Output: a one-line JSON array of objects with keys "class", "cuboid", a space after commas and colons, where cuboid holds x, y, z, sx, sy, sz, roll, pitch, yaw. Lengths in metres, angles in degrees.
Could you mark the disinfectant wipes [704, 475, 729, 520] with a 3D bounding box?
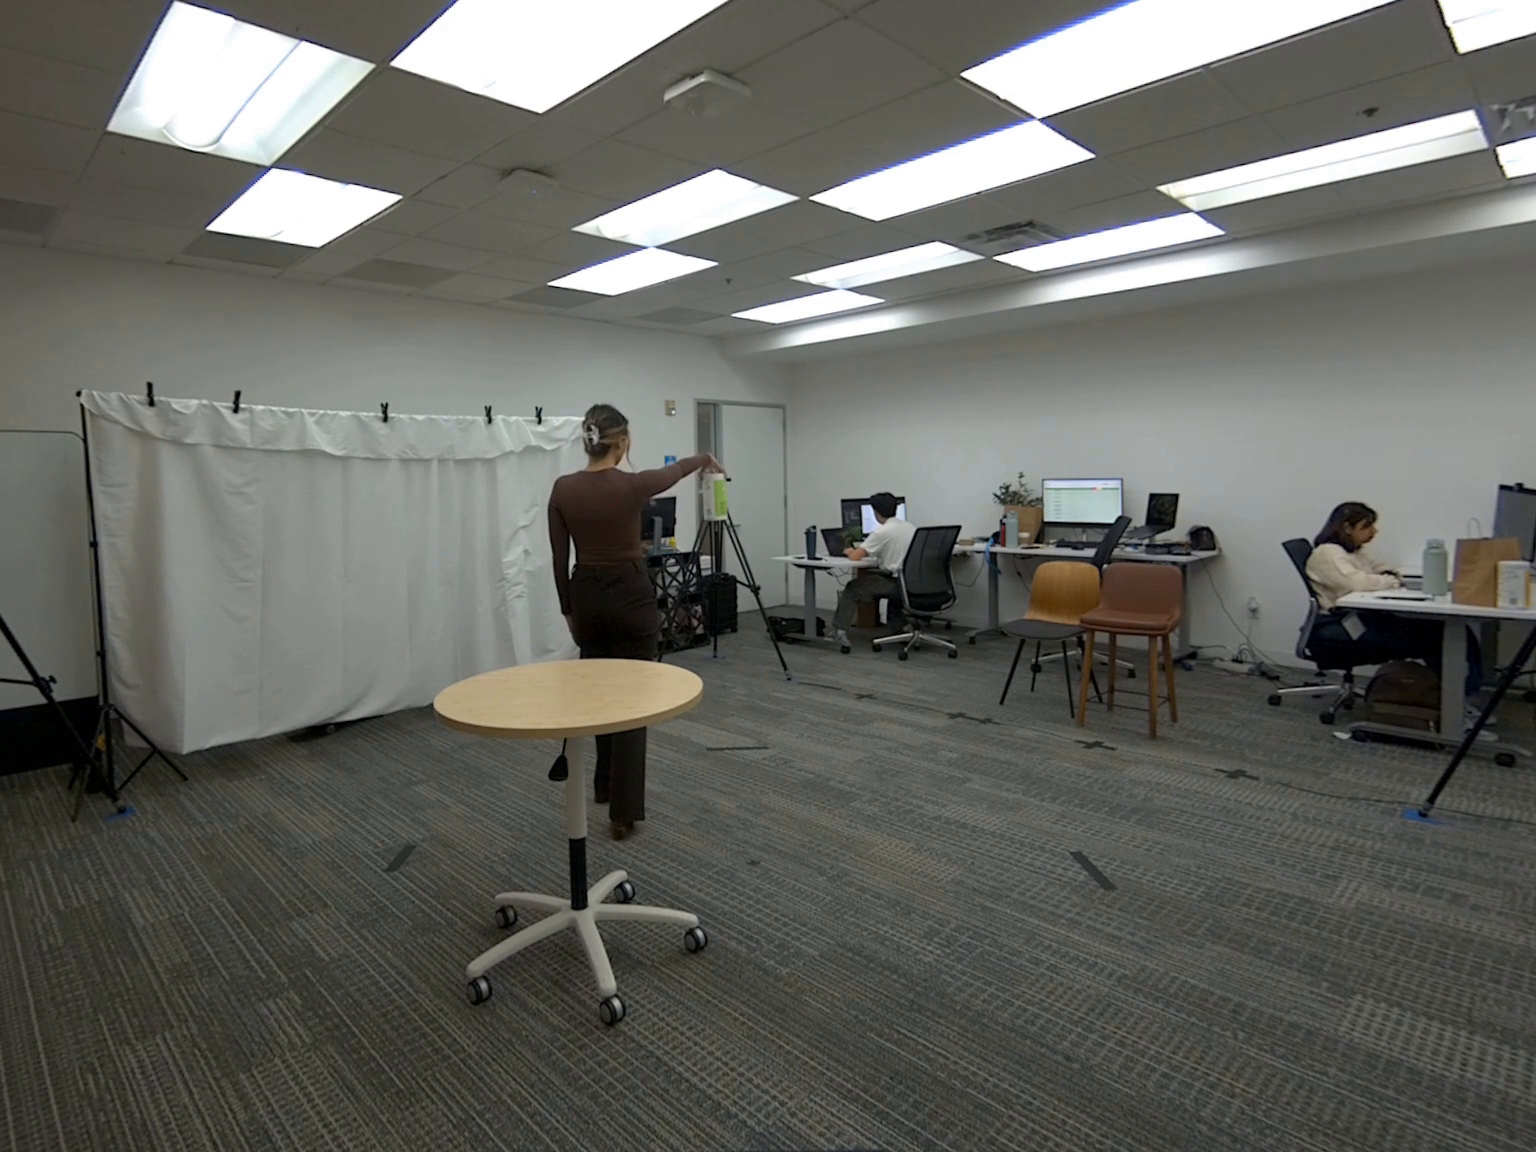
[{"class": "disinfectant wipes", "cuboid": [-0.246, -0.361, 3.934, 0.118, 0.216, 0.118, -1, 7, -2]}]
